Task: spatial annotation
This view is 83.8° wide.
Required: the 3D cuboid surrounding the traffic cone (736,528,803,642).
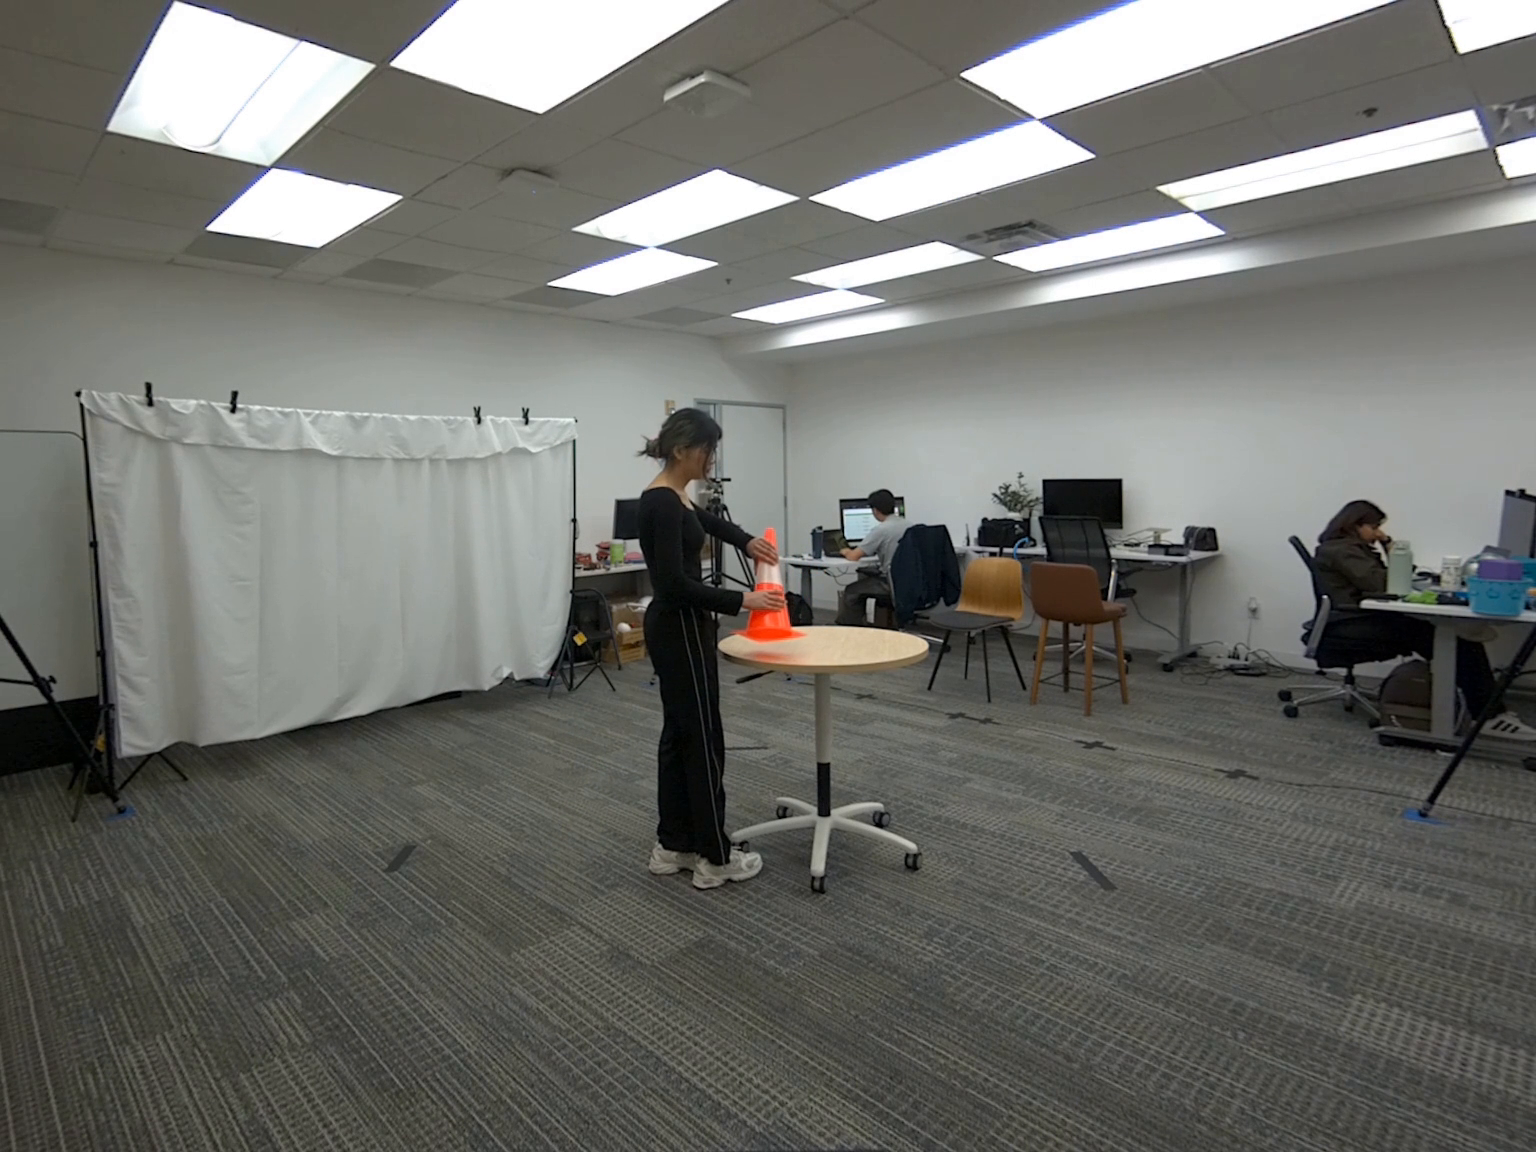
[{"bbox_3d":[0.000,0.021,2.977,0.209,0.390,0.196,-10,-21,27],"label":"traffic cone"}]
